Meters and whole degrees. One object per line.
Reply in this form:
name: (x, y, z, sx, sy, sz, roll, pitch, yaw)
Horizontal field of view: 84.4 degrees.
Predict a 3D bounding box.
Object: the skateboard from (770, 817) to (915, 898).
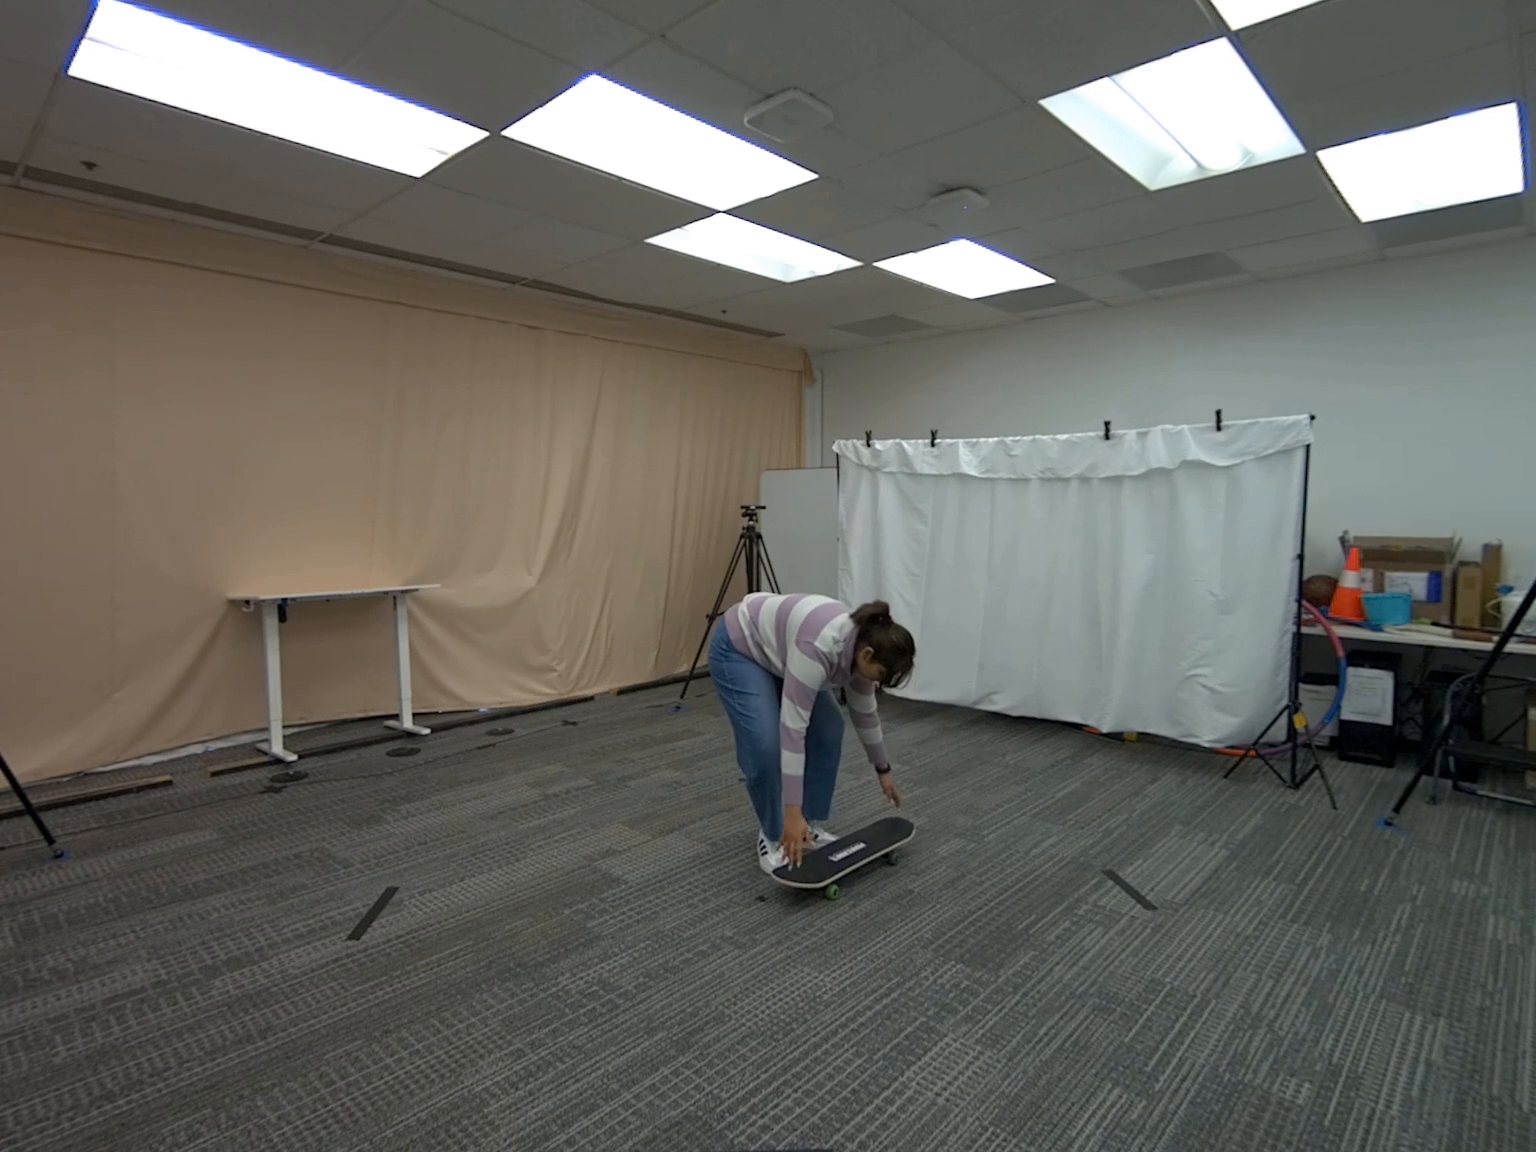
skateboard: (0.302, 1.073, 3.172, 0.200, 0.110, 0.761, 3, 6, 43)
